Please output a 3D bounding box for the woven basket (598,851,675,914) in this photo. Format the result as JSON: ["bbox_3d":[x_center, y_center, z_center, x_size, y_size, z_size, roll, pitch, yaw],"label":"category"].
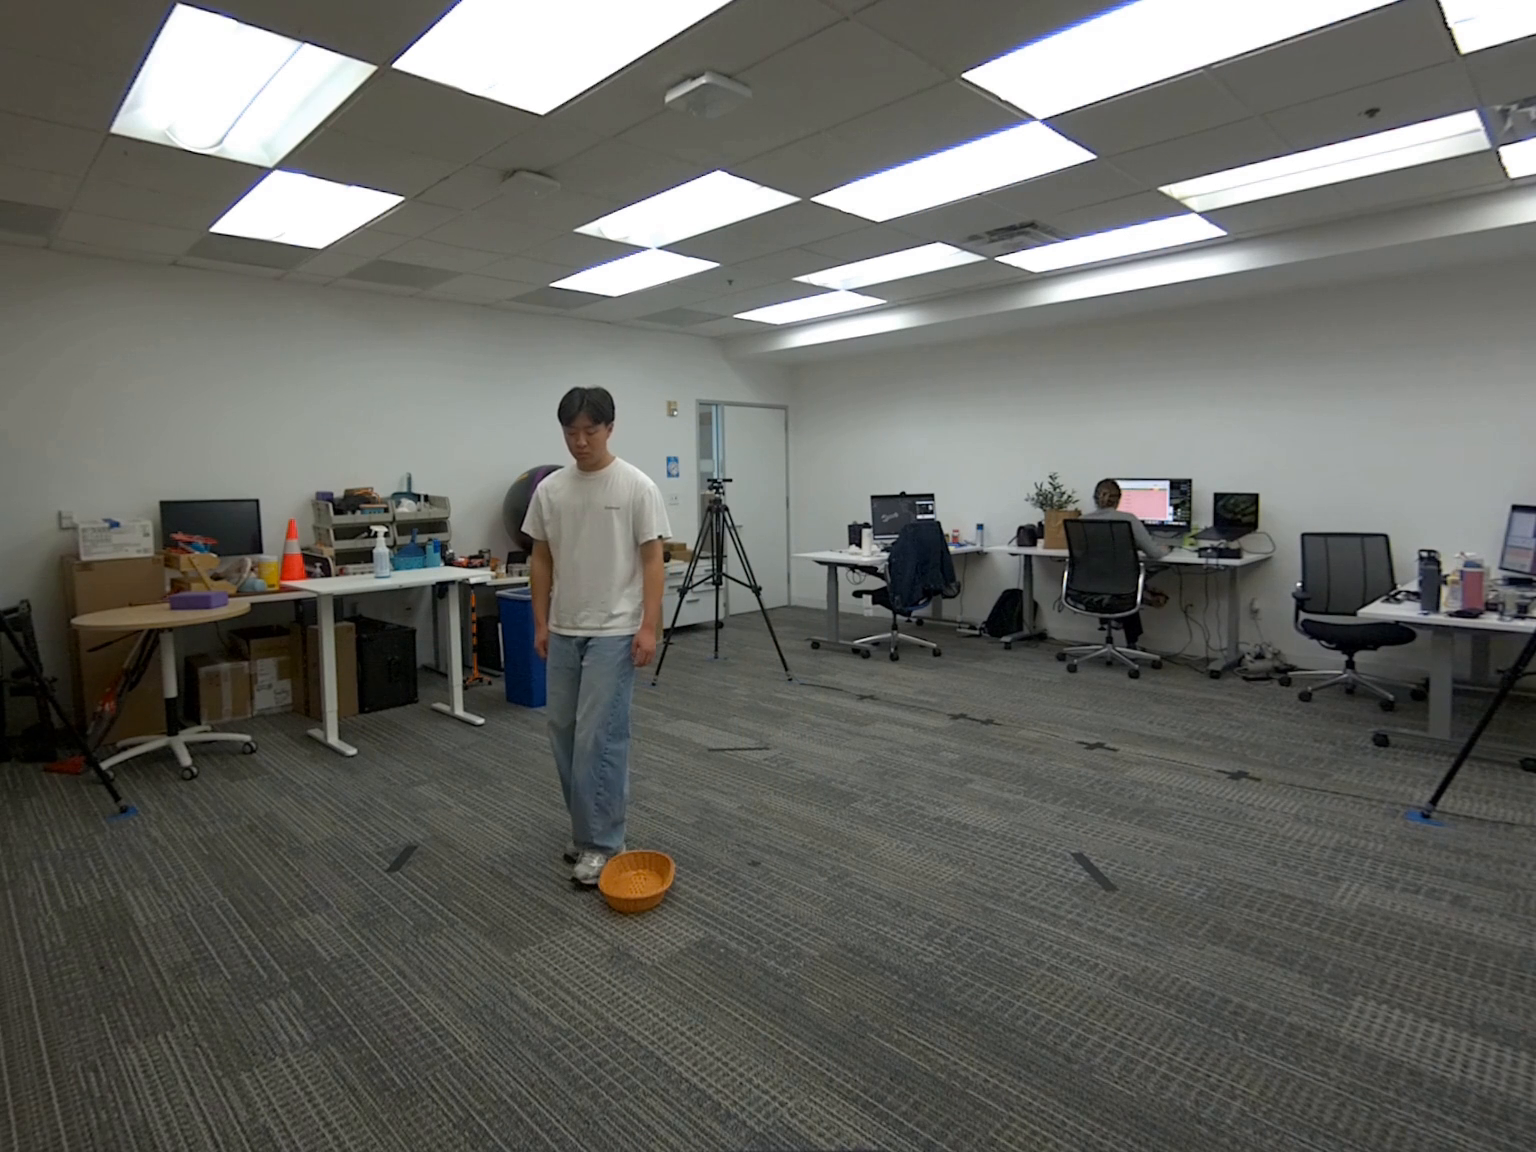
[{"bbox_3d":[-0.427,1.036,2.890,0.254,0.073,0.350,1,7,4],"label":"woven basket"}]
